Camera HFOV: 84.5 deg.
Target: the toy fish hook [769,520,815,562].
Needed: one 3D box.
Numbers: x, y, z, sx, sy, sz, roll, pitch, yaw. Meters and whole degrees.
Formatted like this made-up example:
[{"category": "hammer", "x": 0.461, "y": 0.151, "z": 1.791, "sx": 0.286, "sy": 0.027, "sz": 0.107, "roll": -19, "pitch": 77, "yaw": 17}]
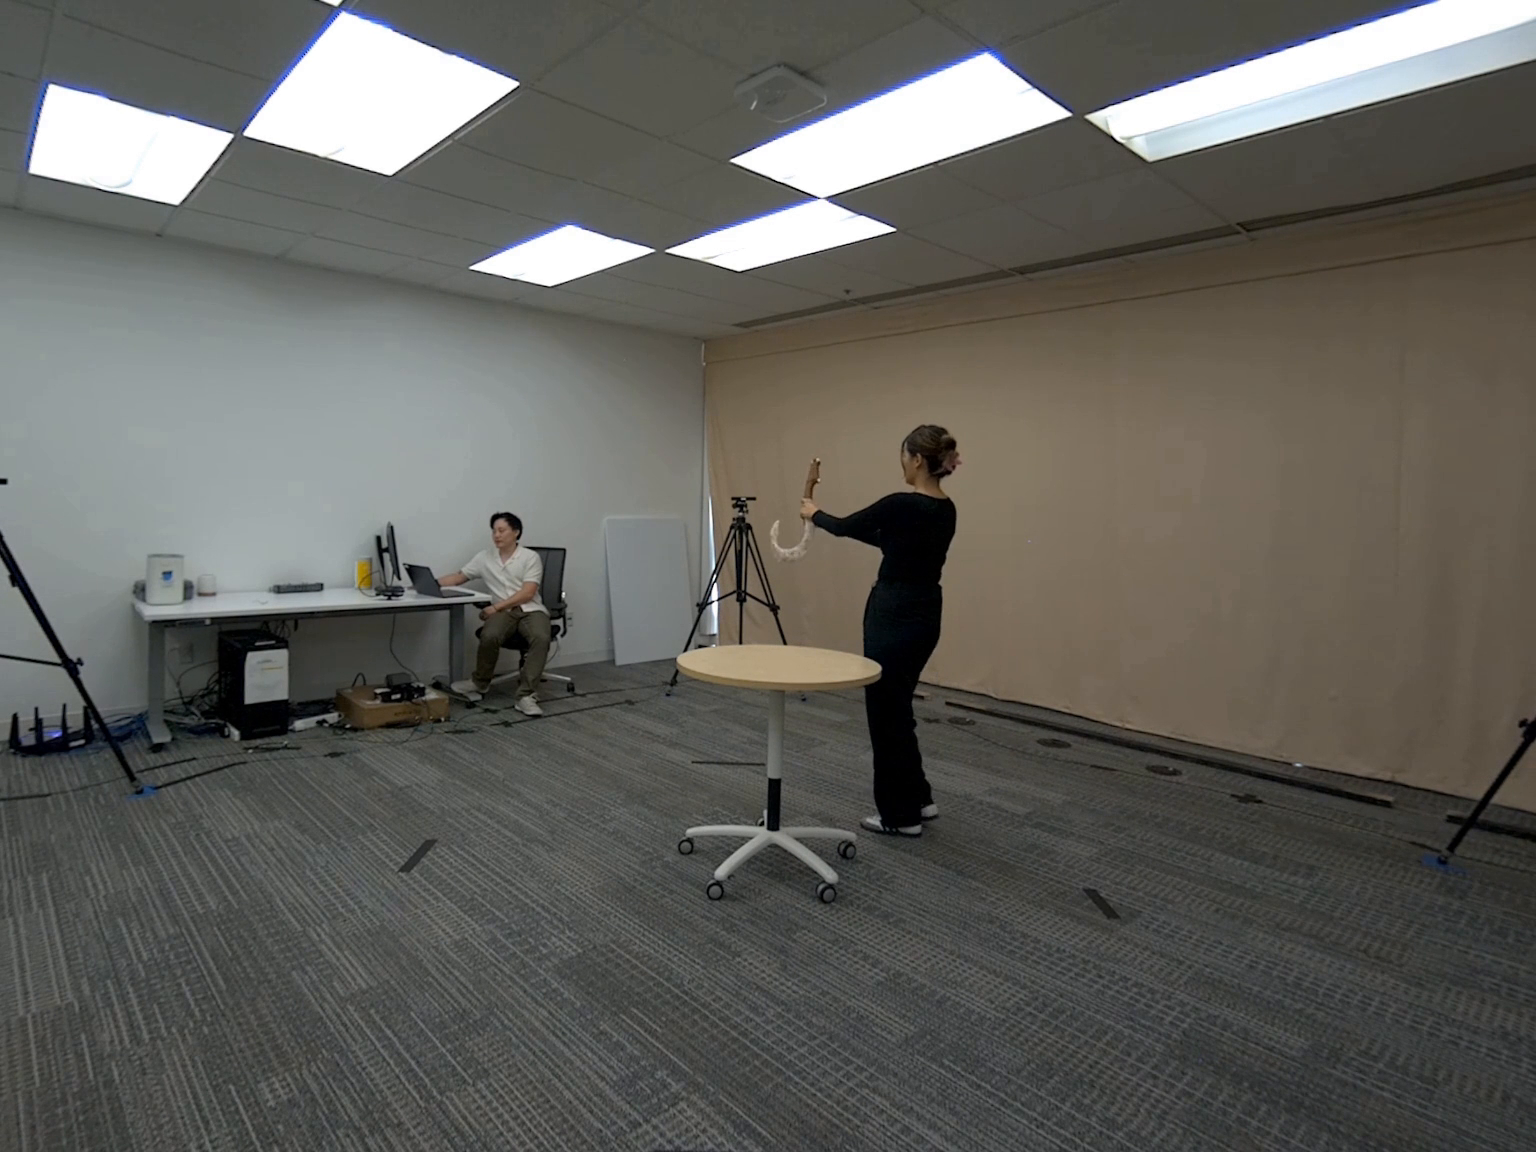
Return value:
[{"category": "toy fish hook", "x": 0.128, "y": -0.306, "z": 3.859, "sx": 0.229, "sy": 0.510, "sz": 0.047, "roll": 5, "pitch": -14, "yaw": 28}]
